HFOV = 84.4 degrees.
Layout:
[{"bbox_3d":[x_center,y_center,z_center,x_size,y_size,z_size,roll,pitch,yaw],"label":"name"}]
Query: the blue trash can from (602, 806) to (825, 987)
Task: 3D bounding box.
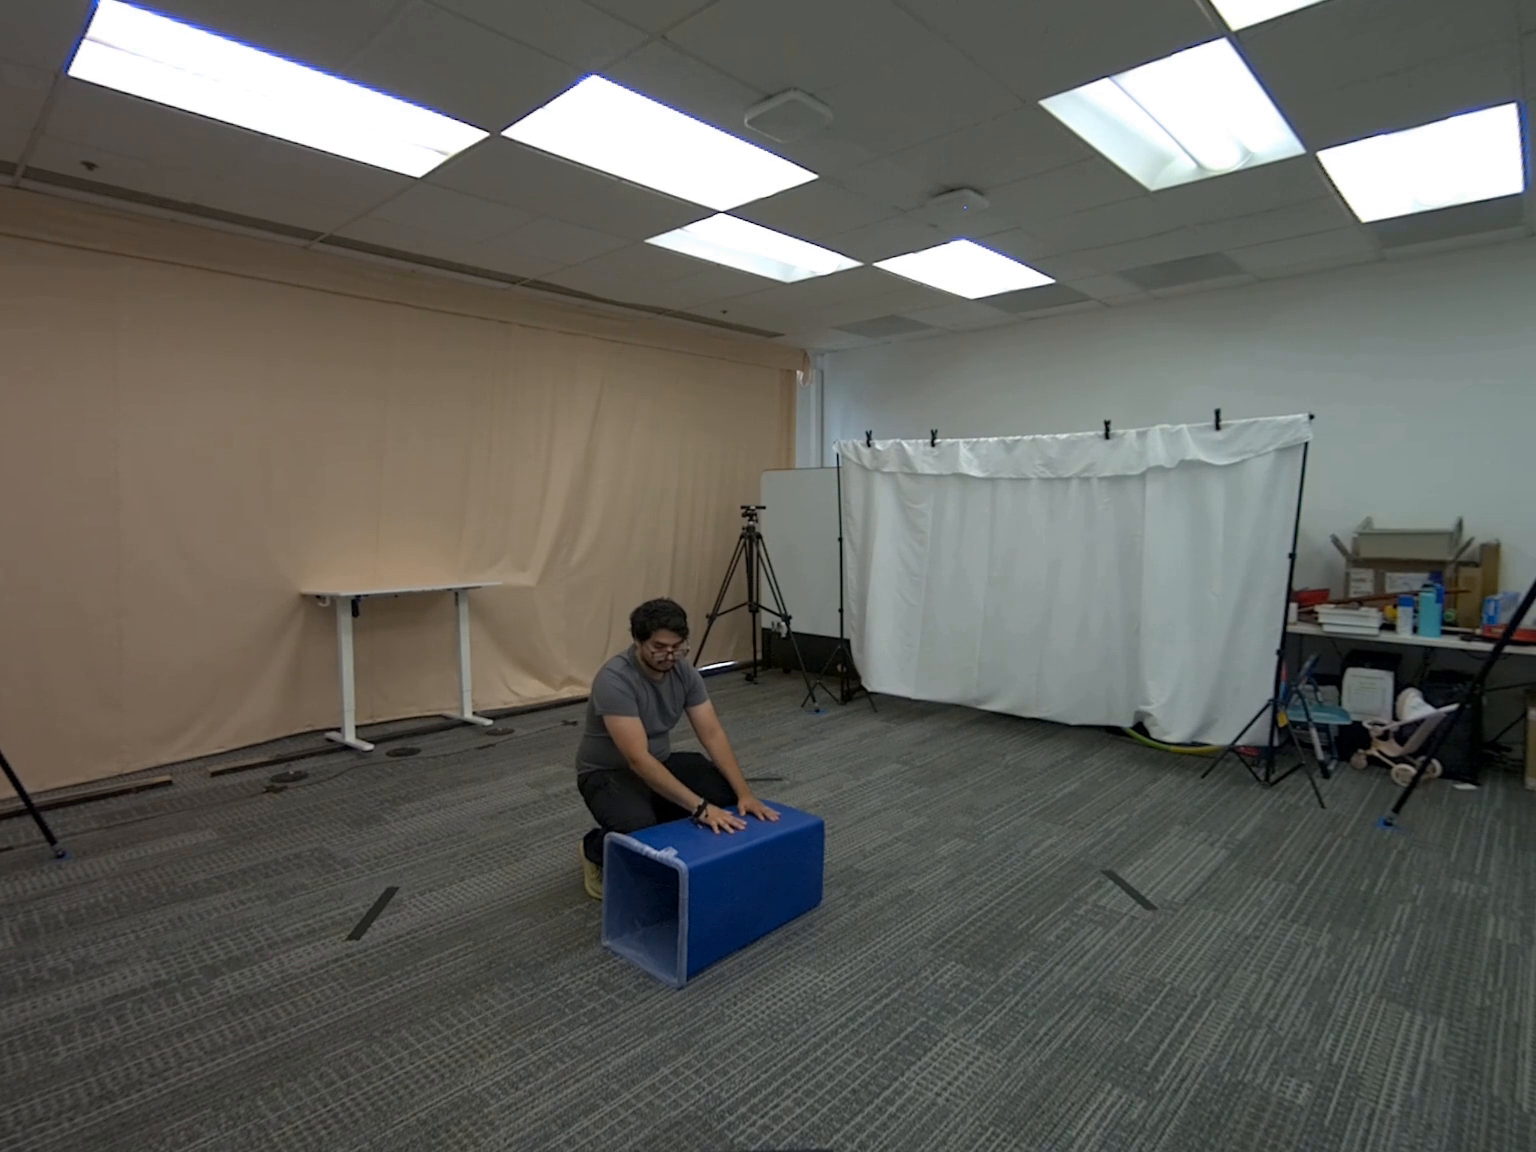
[{"bbox_3d":[-0.143,0.989,2.784,0.386,0.377,0.691,3,3,43],"label":"blue trash can"}]
